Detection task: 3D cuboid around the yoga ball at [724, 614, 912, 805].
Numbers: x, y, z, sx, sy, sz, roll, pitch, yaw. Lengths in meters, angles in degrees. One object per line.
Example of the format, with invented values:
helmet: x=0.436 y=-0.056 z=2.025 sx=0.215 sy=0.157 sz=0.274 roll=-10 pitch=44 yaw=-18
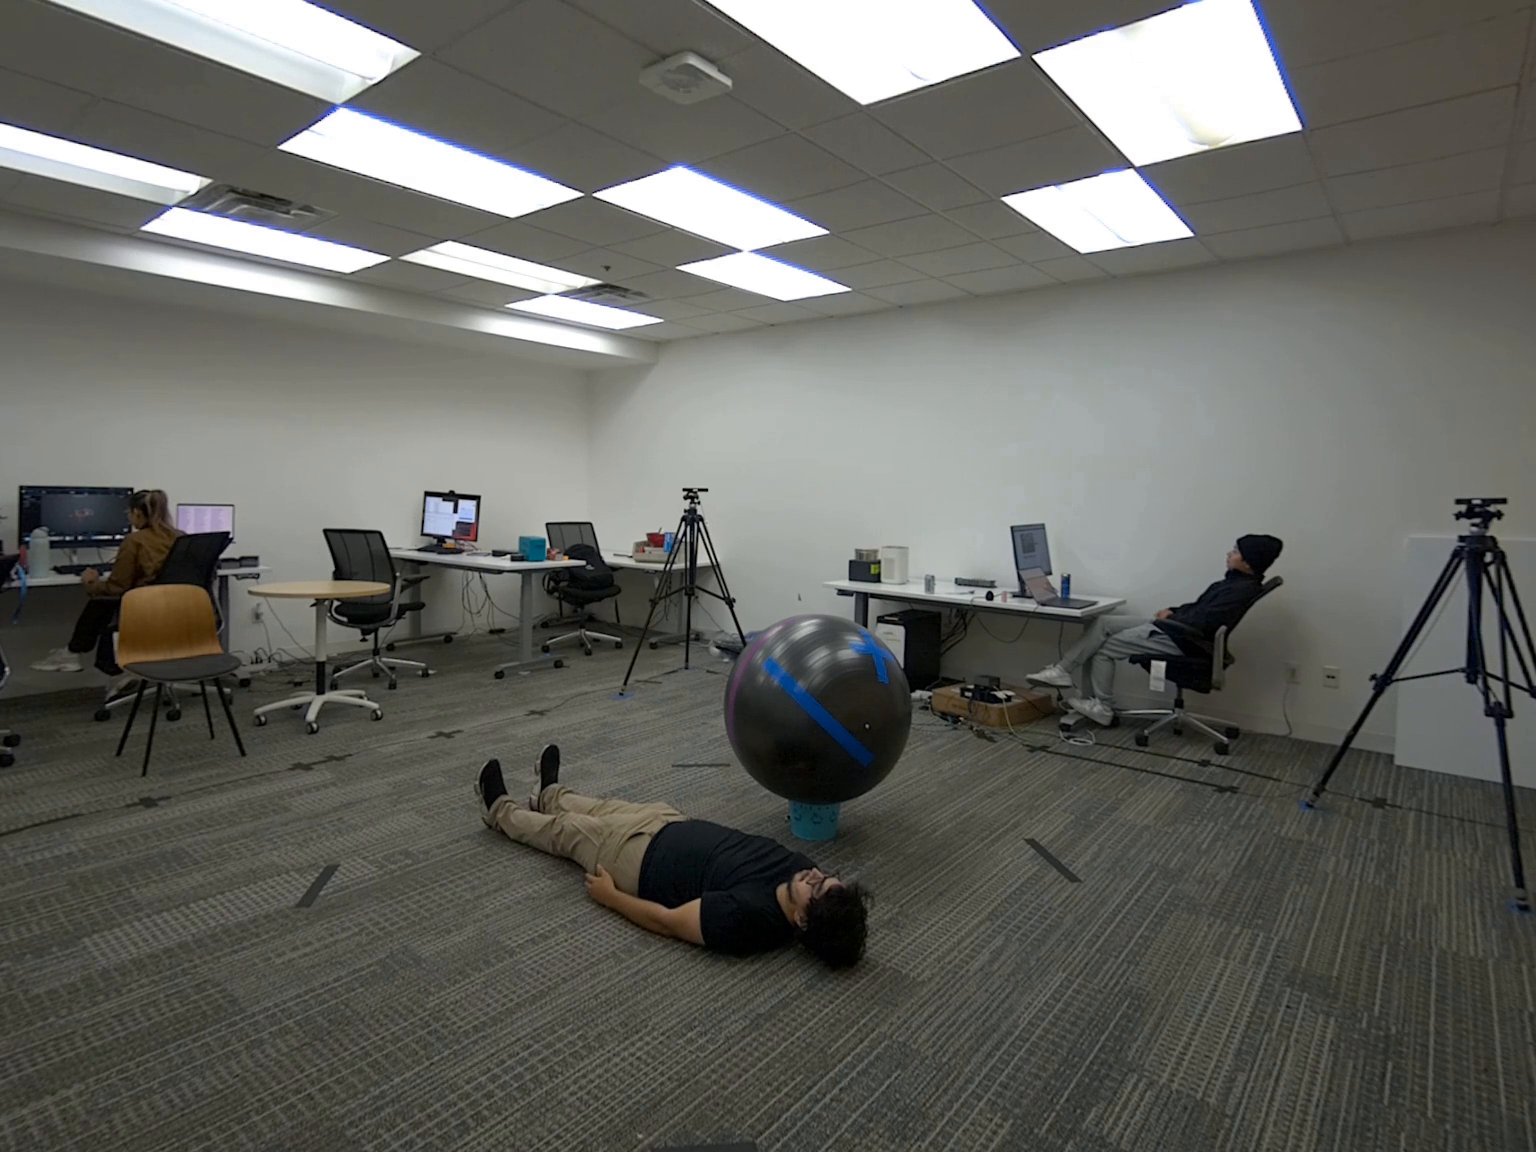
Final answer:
yoga ball: x=0.190 y=0.538 z=3.461 sx=0.757 sy=0.756 sz=0.761 roll=0 pitch=4 yaw=-2
